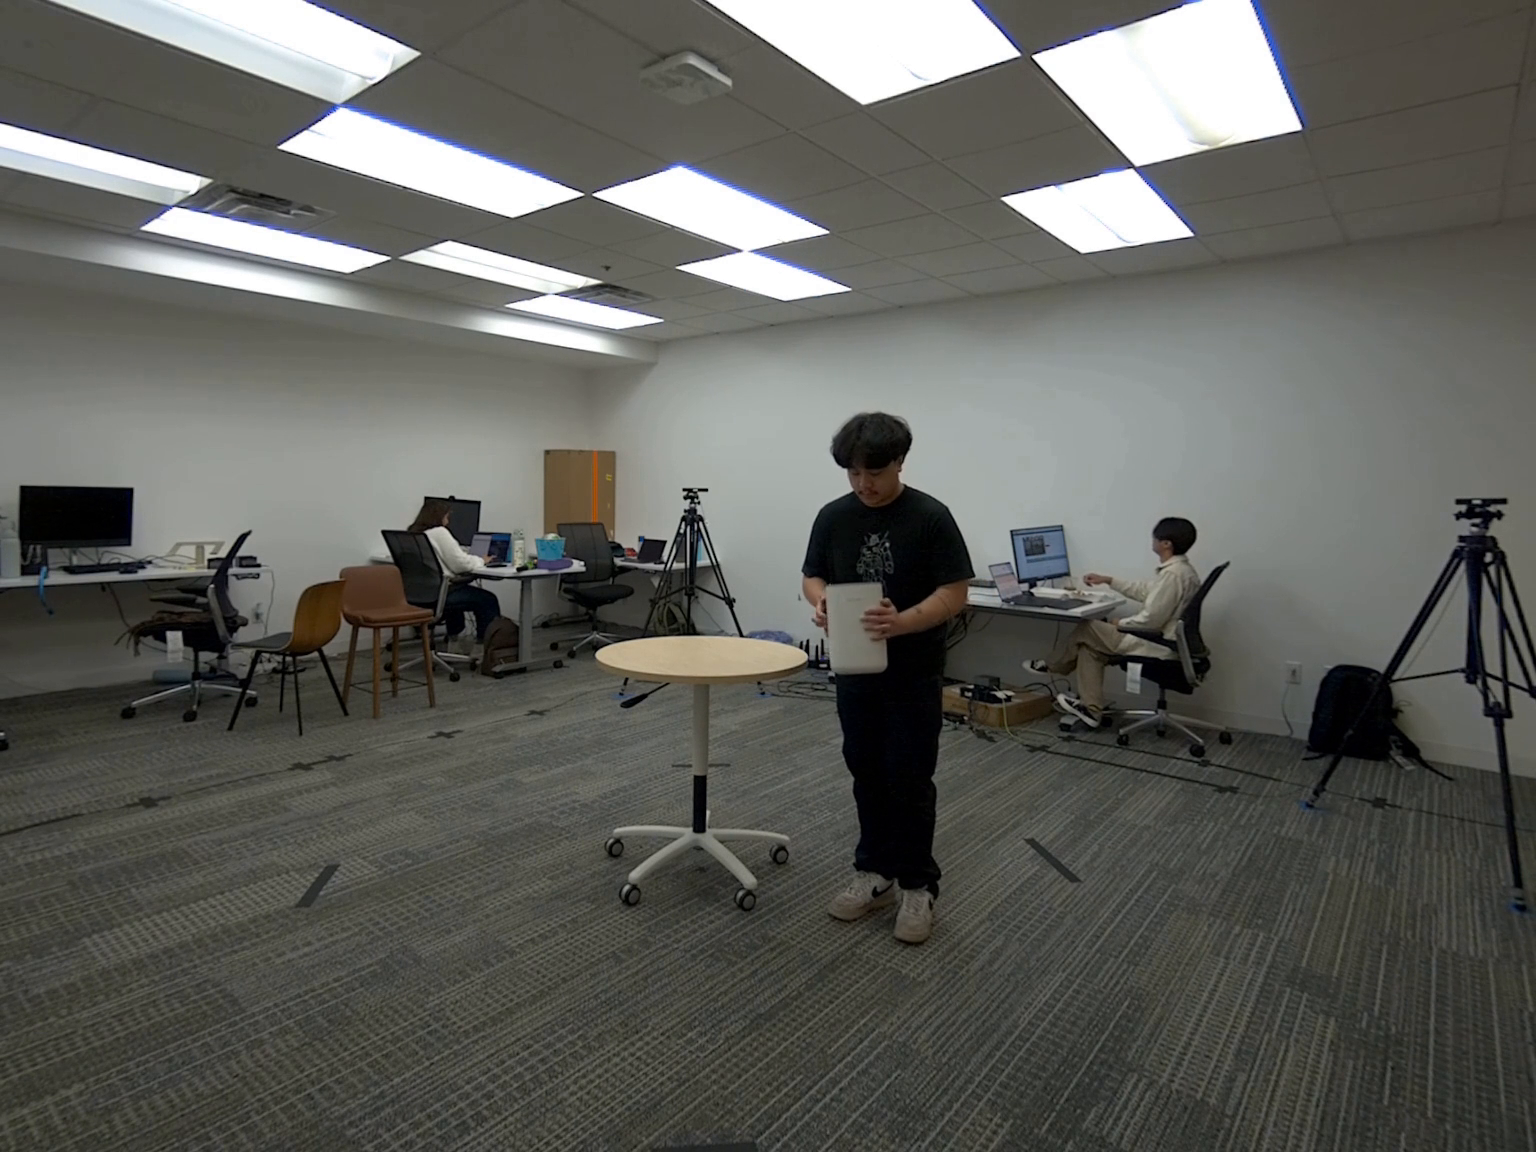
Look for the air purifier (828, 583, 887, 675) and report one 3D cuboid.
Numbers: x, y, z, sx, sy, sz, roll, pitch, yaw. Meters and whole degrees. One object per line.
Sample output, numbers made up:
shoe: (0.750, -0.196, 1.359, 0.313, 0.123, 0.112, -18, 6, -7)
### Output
air purifier: (0.272, 0.158, 2.576, 0.172, 0.267, 0.169, 1, -5, 6)
